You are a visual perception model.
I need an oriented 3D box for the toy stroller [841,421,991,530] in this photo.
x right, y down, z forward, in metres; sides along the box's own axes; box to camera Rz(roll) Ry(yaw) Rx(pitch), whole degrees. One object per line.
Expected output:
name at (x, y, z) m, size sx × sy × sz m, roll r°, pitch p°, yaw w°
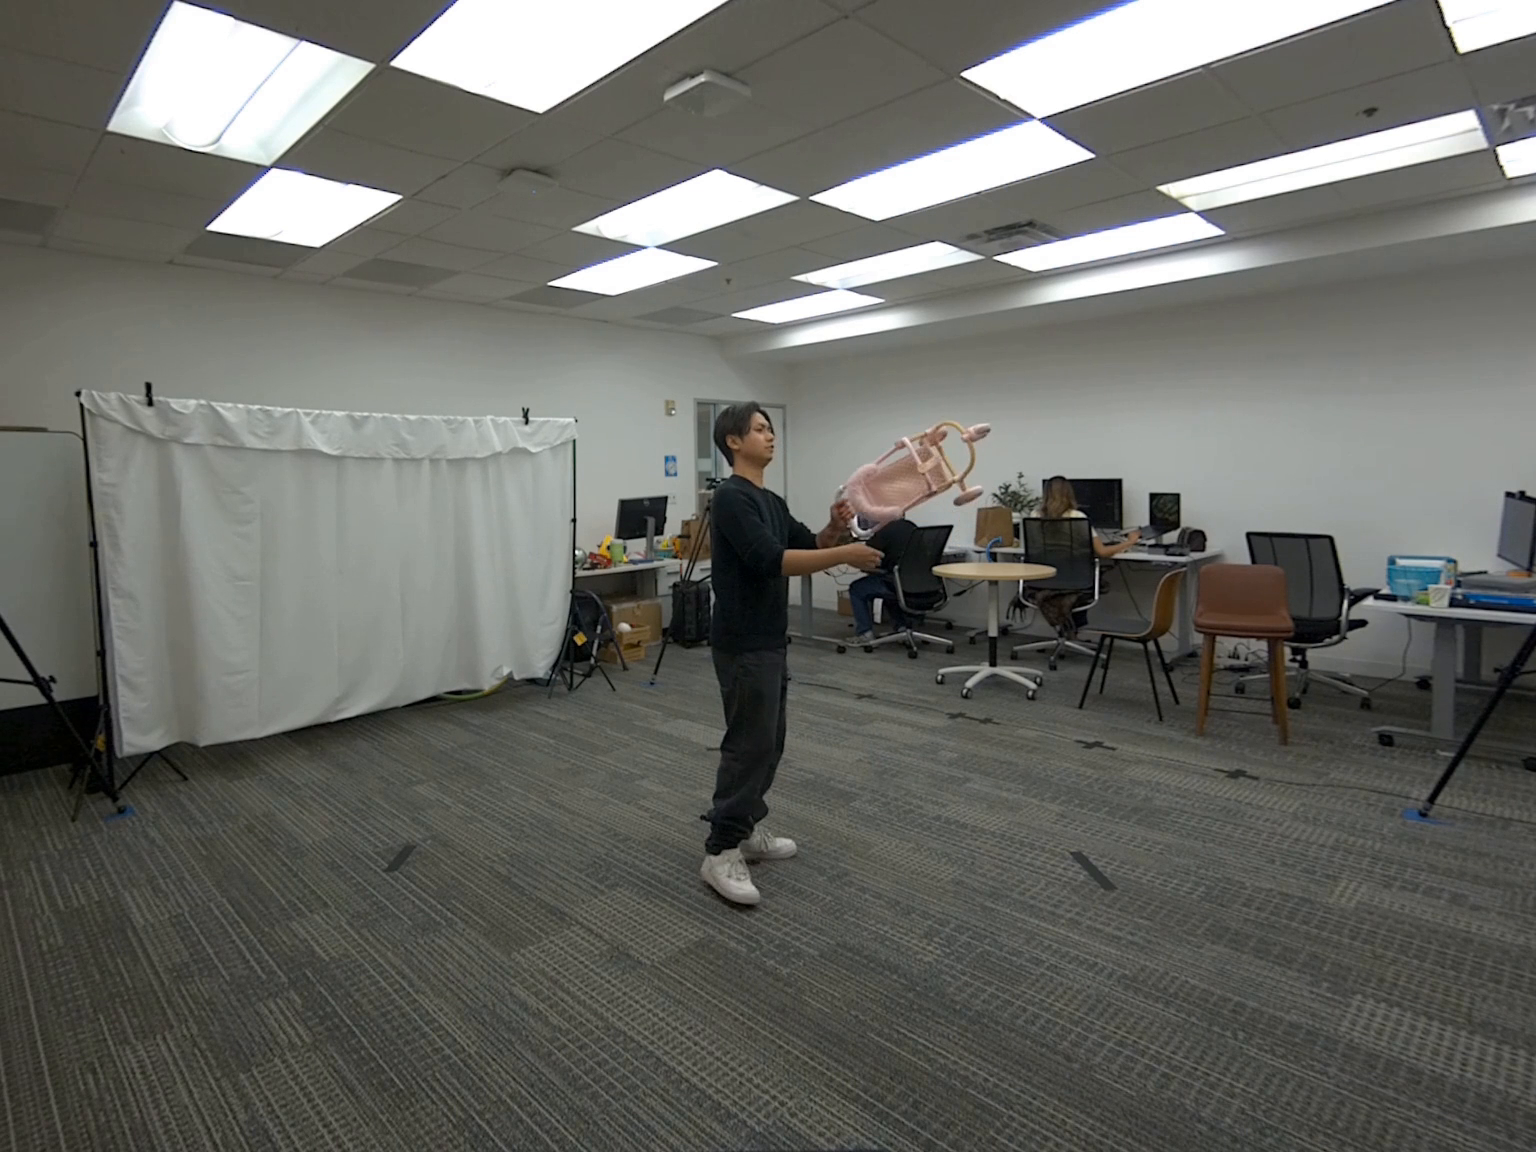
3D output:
toy stroller at (0.484, -0.336, 2.888) m, size 0.536 × 0.286 × 0.336 m, roll -25°, pitch -11°, yaw 3°
